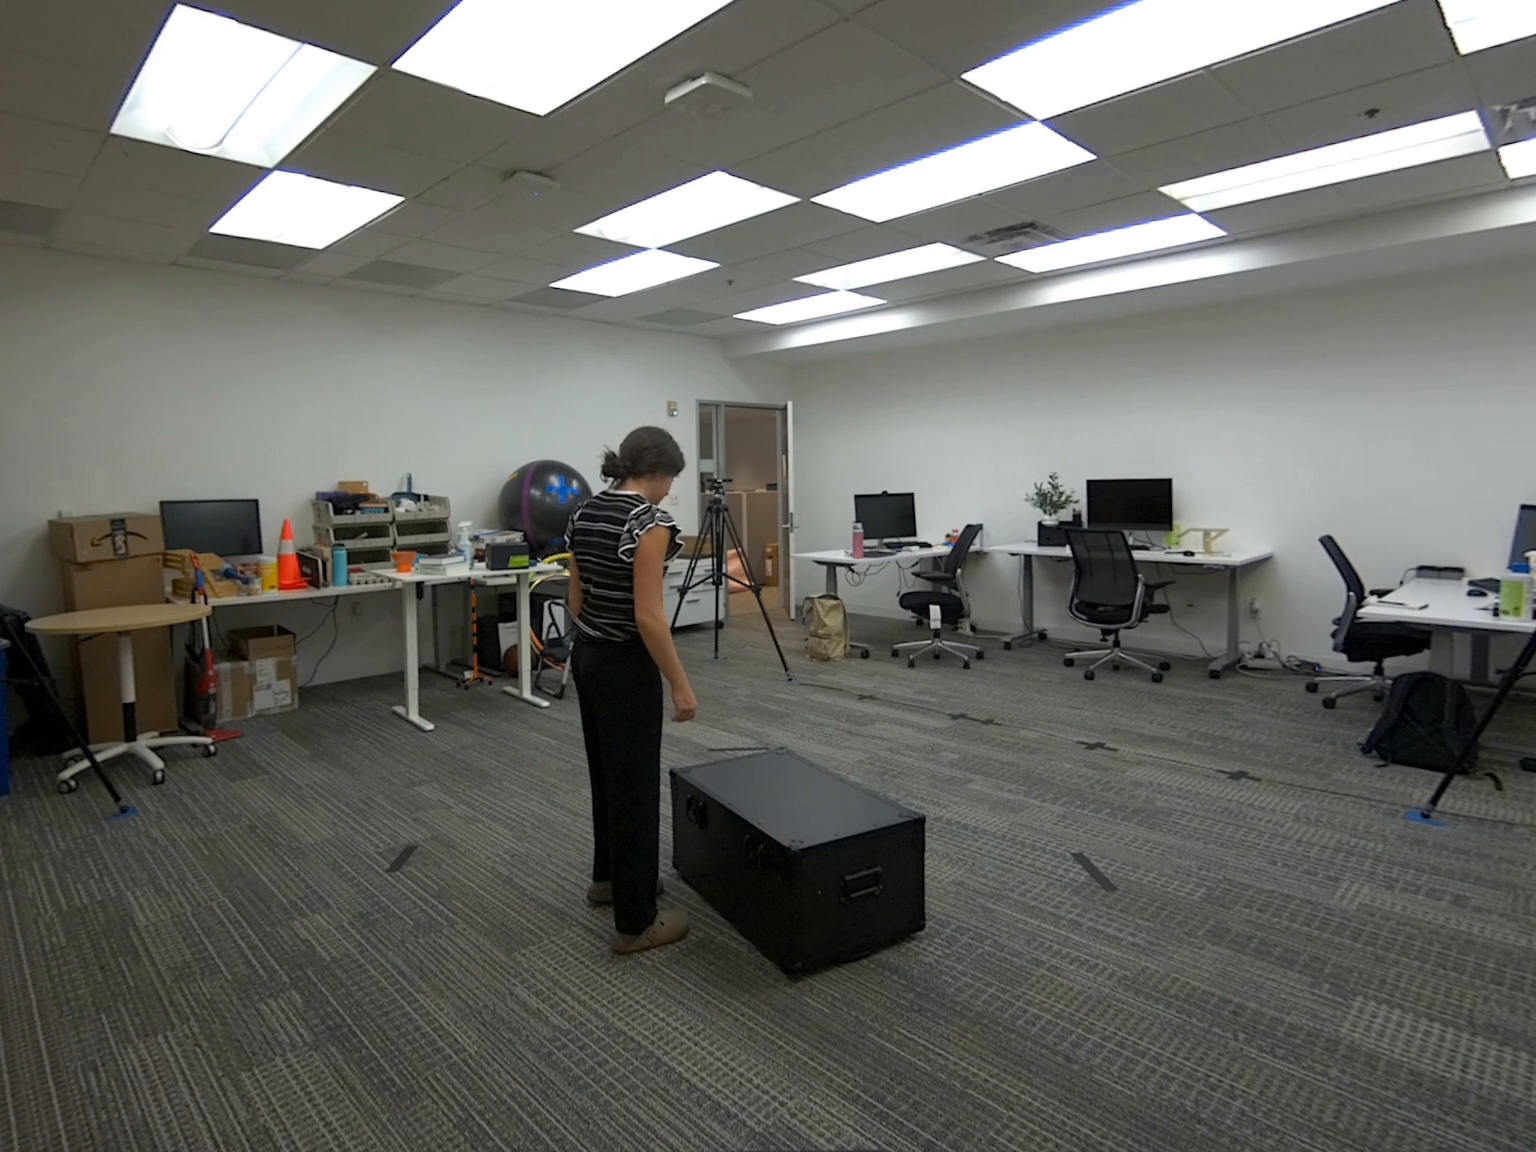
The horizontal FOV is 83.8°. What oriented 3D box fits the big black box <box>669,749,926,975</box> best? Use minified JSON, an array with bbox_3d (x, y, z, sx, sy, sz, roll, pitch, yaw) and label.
[{"bbox_3d":[0.055,0.884,2.832,0.509,0.394,0.886,-4,7,-31],"label":"big black box"}]
